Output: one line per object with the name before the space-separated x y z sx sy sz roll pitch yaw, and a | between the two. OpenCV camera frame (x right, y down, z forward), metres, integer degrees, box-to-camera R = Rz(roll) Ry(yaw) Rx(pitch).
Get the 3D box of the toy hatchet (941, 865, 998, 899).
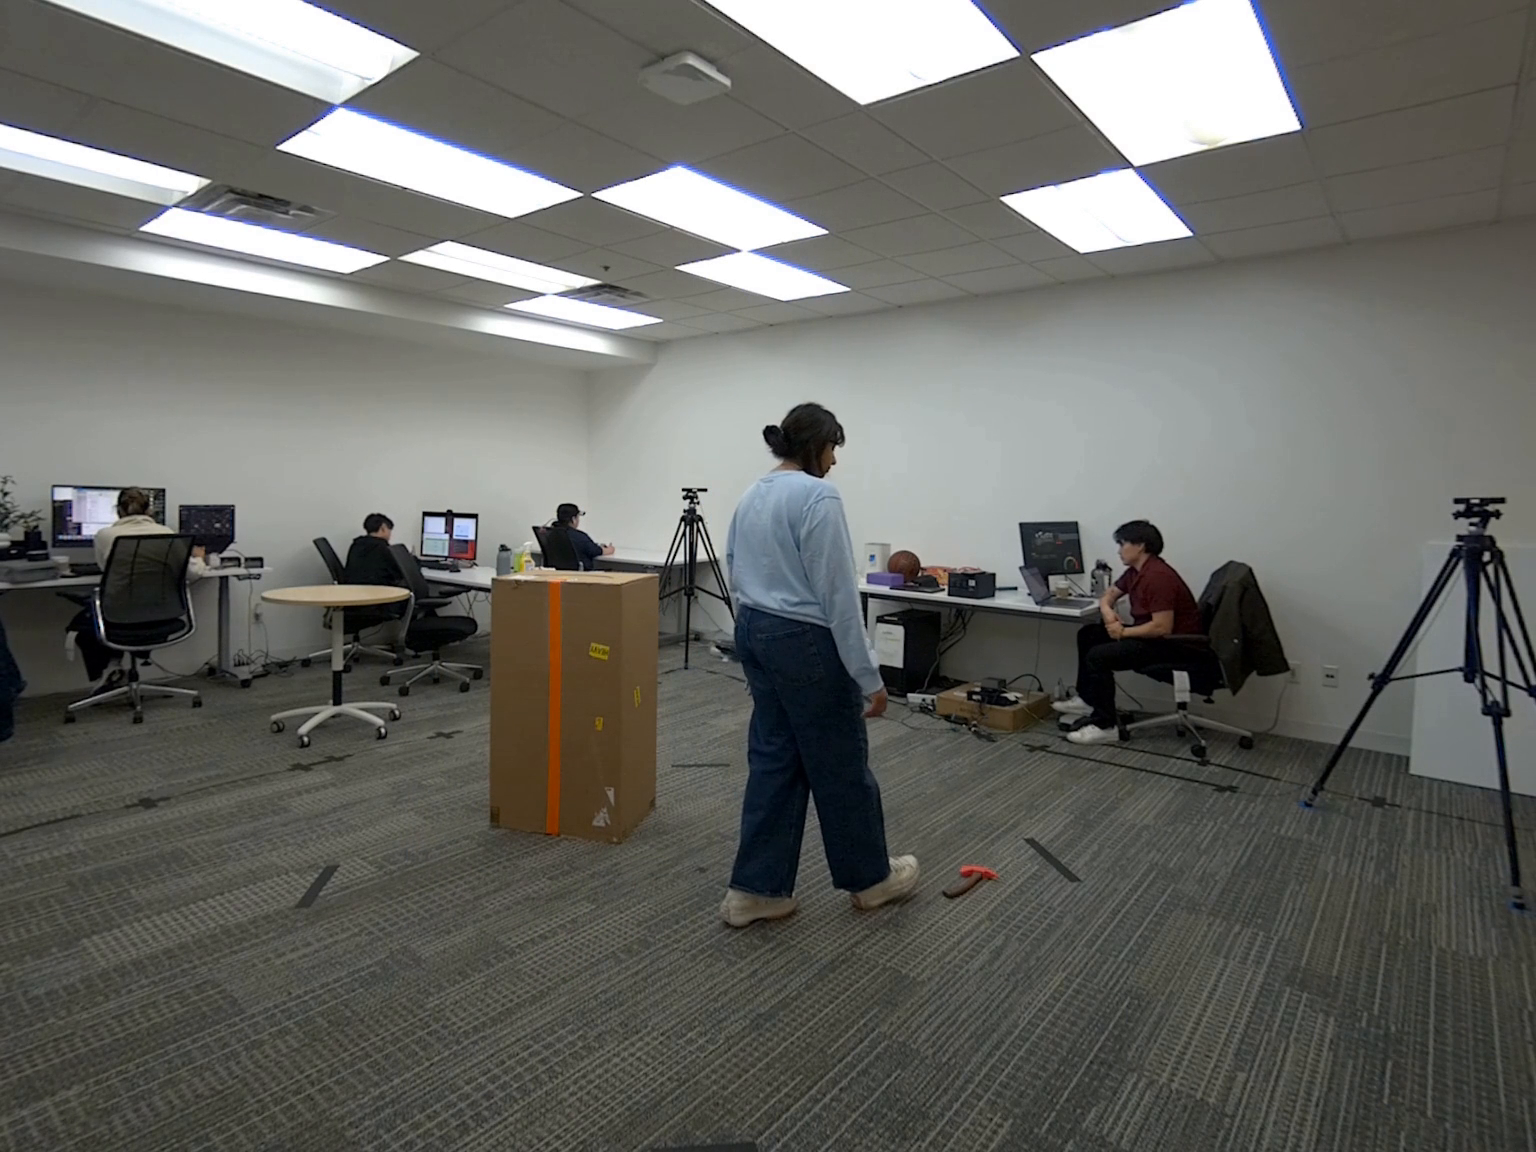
toy hatchet | 0.690 1.090 3.049 0.262 0.029 0.135 -5 9 -35
